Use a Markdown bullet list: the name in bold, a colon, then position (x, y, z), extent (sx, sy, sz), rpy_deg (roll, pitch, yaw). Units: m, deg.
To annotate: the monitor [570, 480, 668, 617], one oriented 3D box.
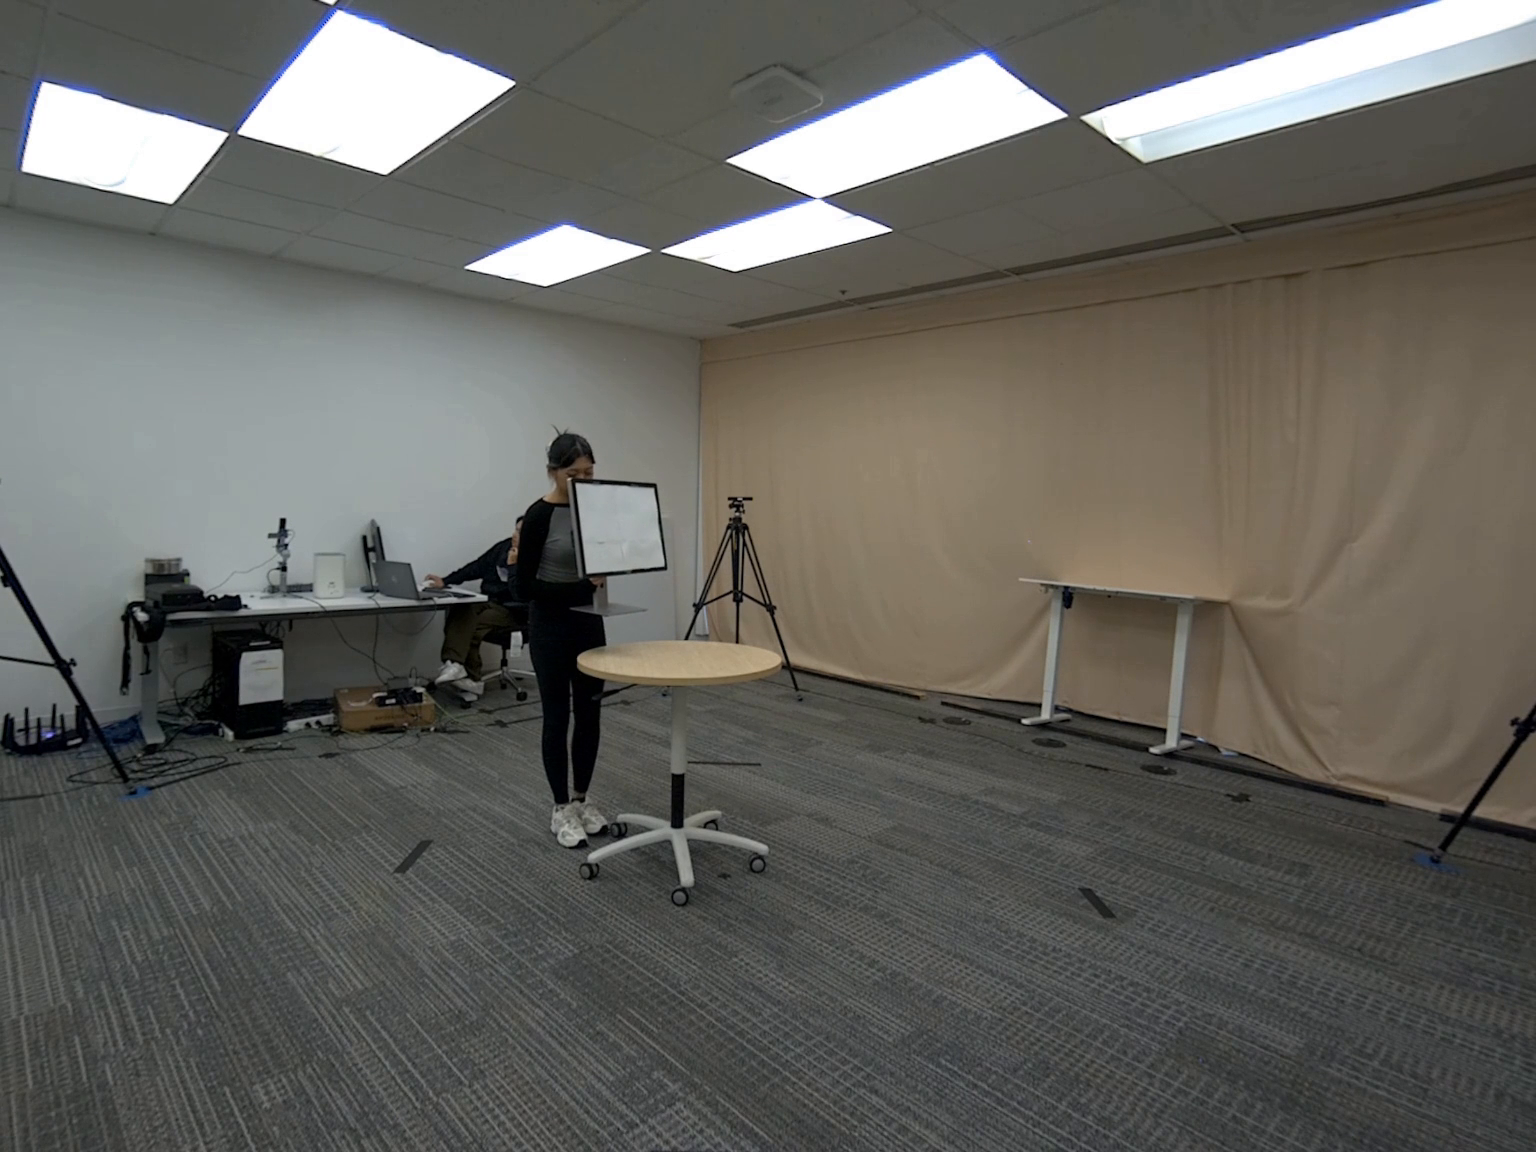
- **monitor**: position (-0.615, -0.107, 3.262), extent (0.191, 0.521, 0.530), rpy_deg (7, 6, 24)
